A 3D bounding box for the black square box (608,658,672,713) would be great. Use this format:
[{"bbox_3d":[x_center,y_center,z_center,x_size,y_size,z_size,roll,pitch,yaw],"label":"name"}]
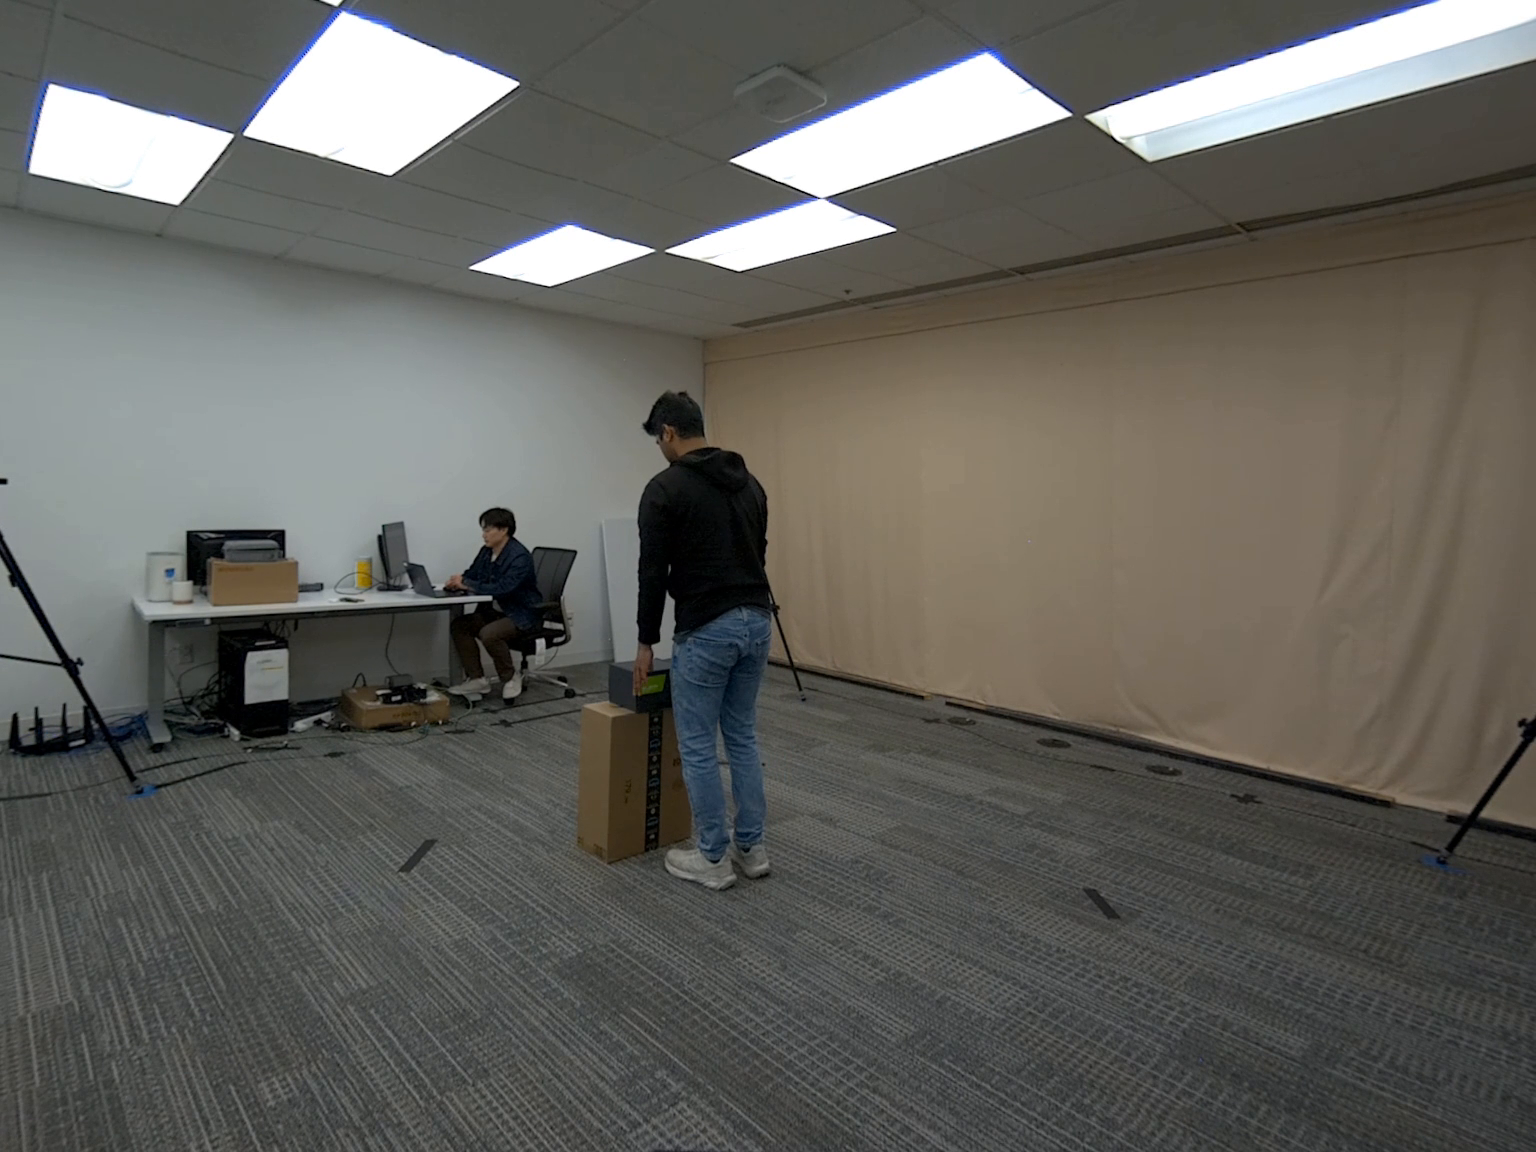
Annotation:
[{"bbox_3d":[-0.496,0.433,3.363,0.223,0.155,0.222,-3,7,-40],"label":"black square box"}]
